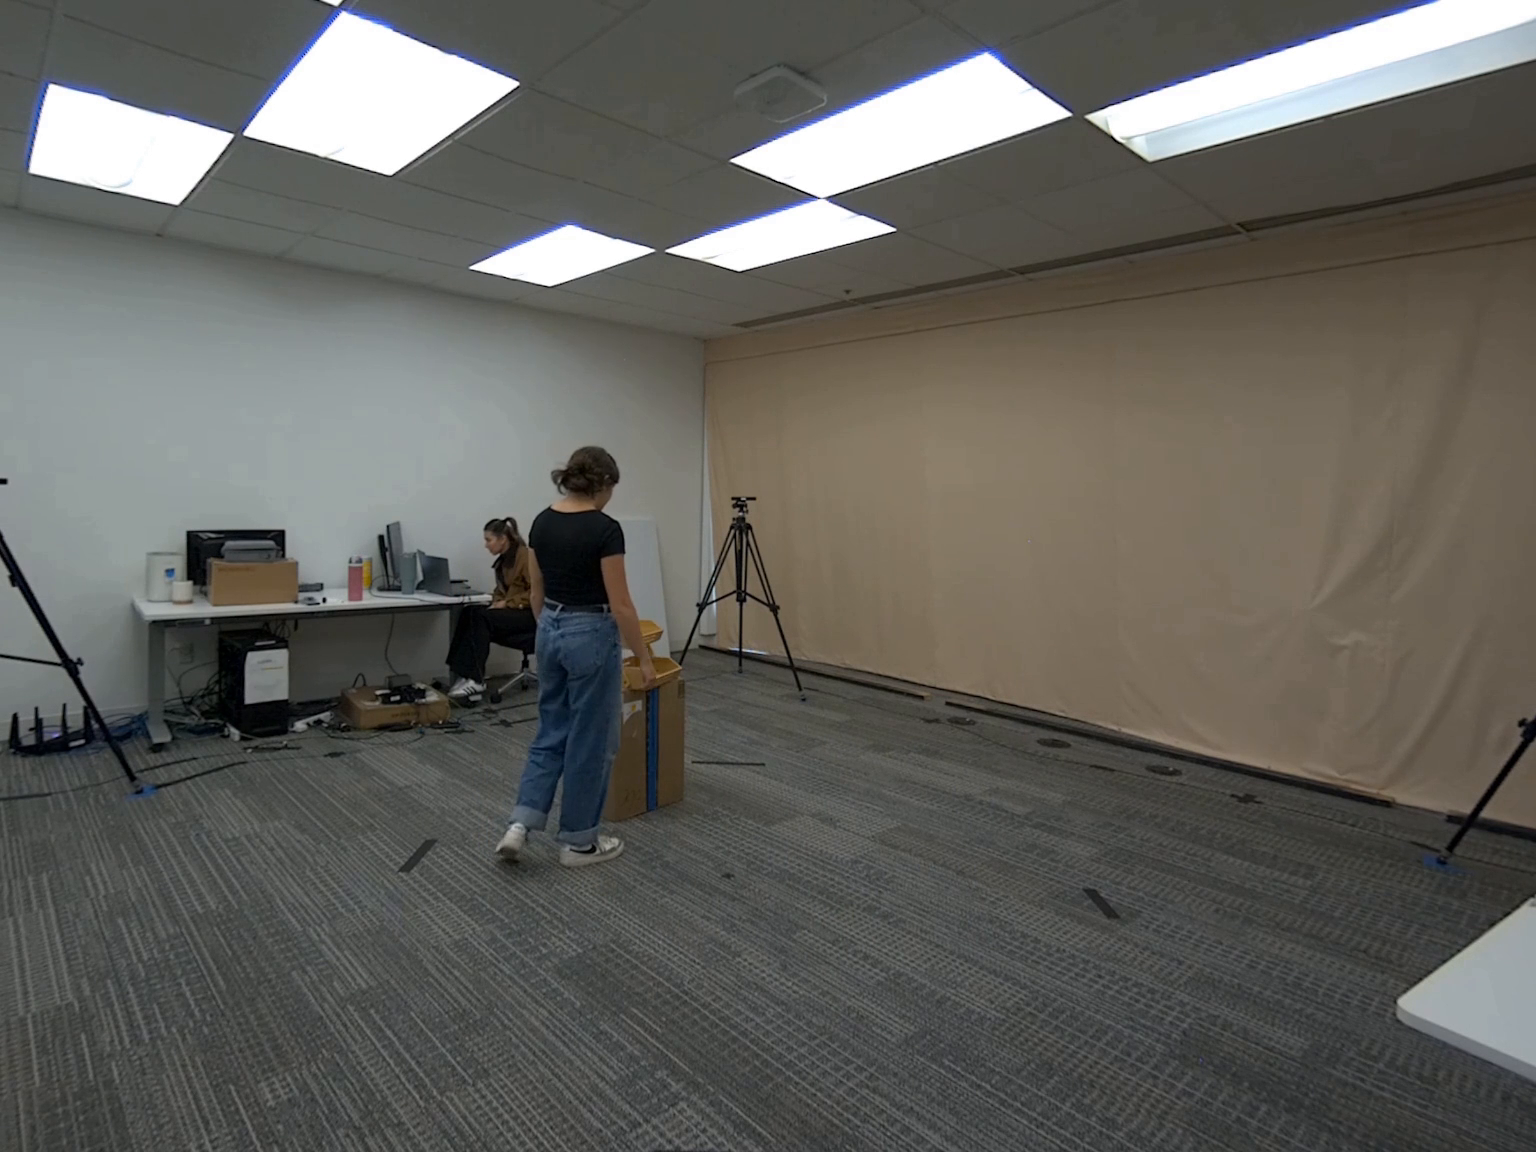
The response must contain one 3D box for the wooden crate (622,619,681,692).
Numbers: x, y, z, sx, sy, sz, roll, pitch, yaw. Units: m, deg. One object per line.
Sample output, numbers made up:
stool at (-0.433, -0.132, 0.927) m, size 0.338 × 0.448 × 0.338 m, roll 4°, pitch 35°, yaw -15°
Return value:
wooden crate at (-0.574, 0.338, 3.760) m, size 0.307 × 0.273 × 0.320 m, roll 0°, pitch 3°, yaw 21°
